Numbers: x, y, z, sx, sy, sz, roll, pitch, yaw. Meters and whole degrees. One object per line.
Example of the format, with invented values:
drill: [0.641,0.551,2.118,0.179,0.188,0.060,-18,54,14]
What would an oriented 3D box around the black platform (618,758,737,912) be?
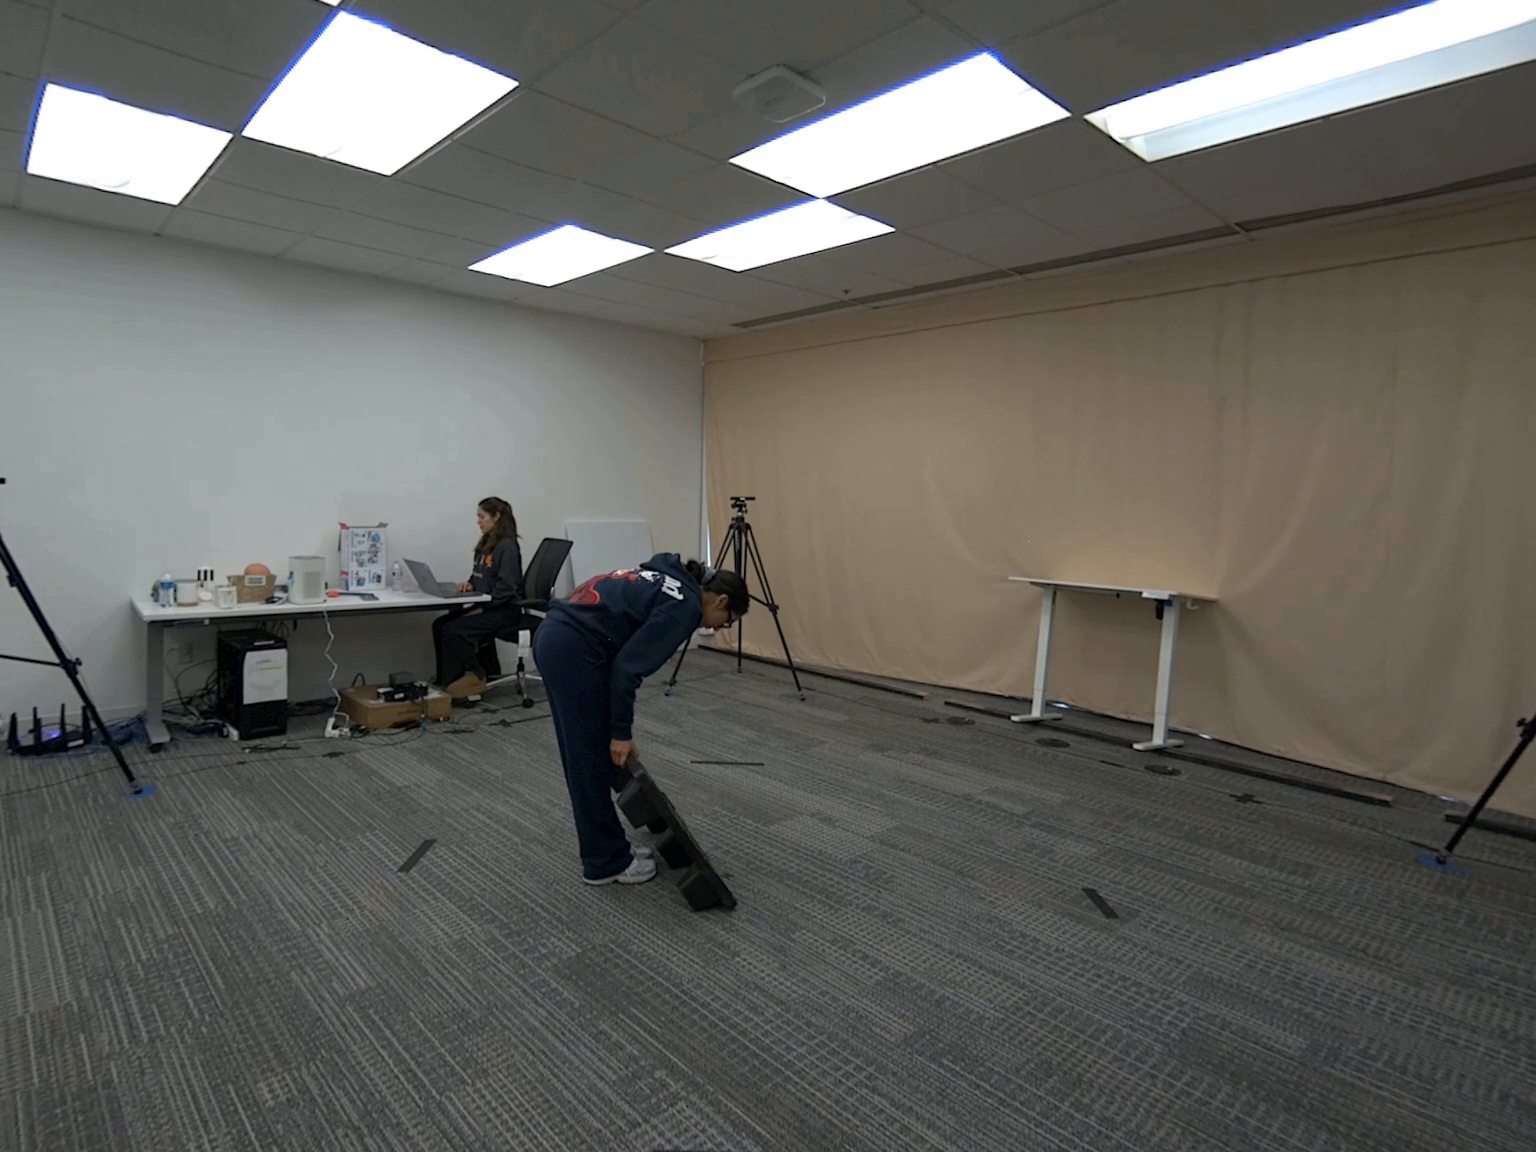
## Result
black platform: [-0.439,0.870,3.134,0.143,0.597,0.819,-34,14,-14]
